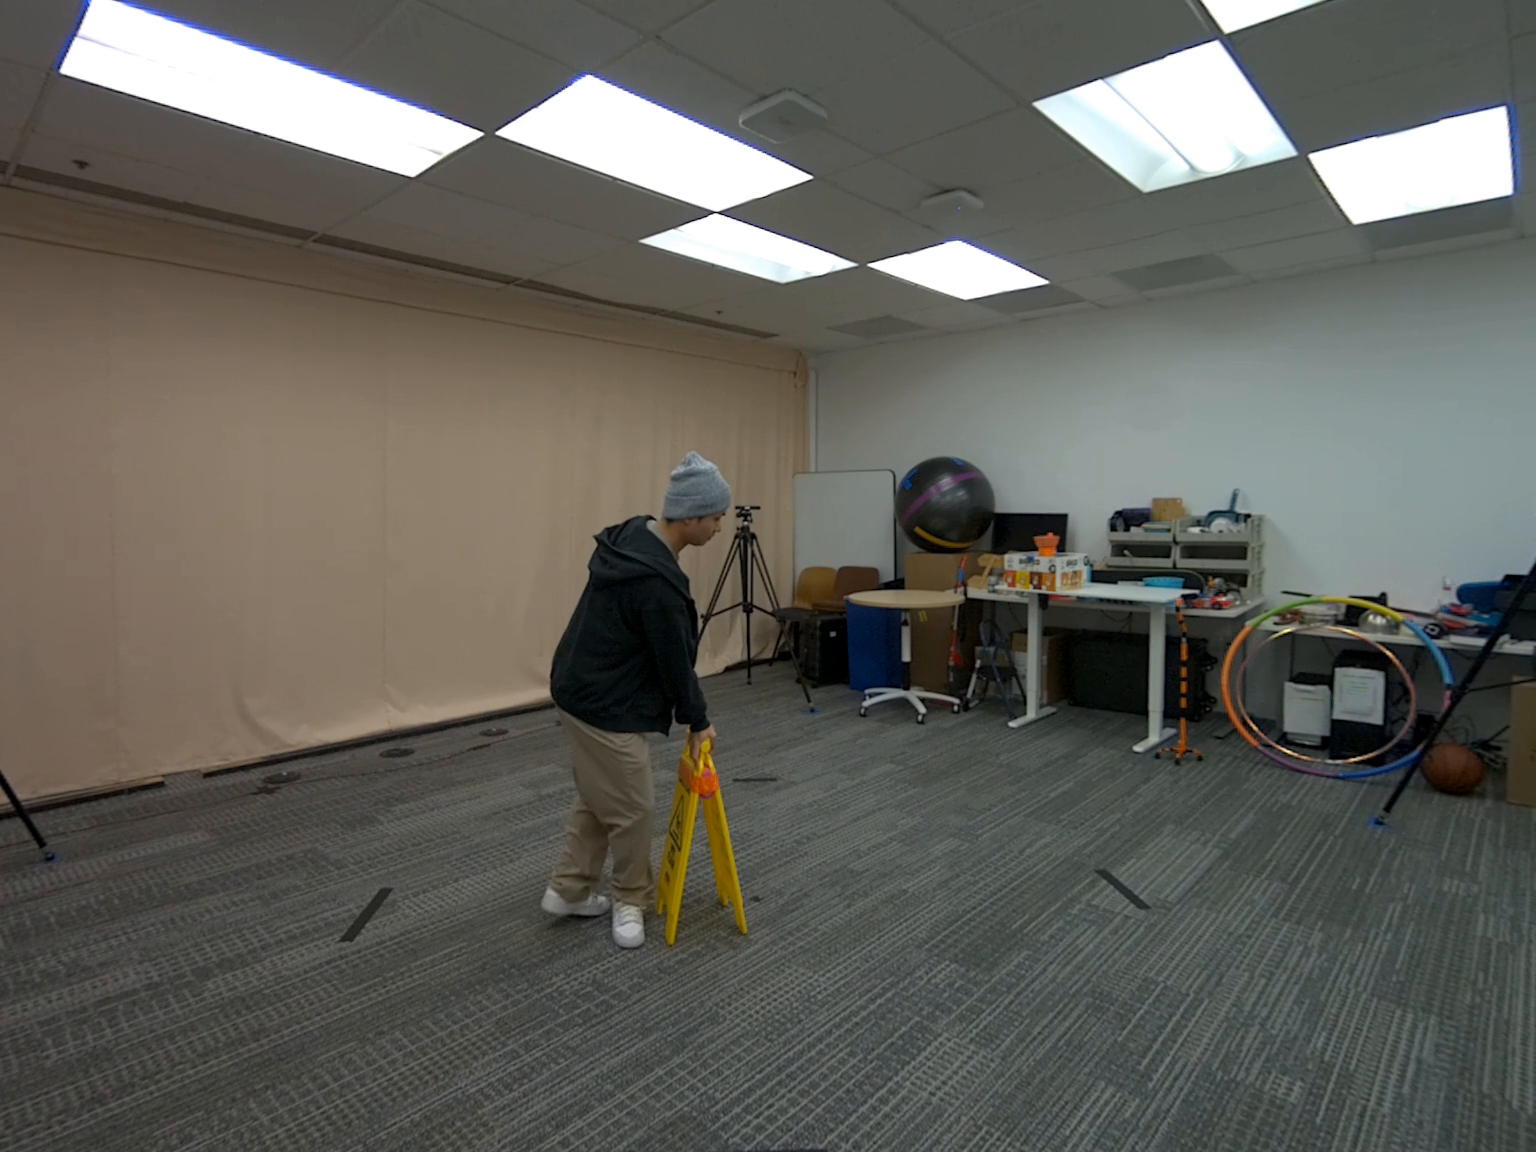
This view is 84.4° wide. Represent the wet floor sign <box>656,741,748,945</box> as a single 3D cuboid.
[{"bbox_3d":[-0.233,0.831,2.803,0.284,0.645,0.288,-1,2,-18],"label":"wet floor sign"}]
